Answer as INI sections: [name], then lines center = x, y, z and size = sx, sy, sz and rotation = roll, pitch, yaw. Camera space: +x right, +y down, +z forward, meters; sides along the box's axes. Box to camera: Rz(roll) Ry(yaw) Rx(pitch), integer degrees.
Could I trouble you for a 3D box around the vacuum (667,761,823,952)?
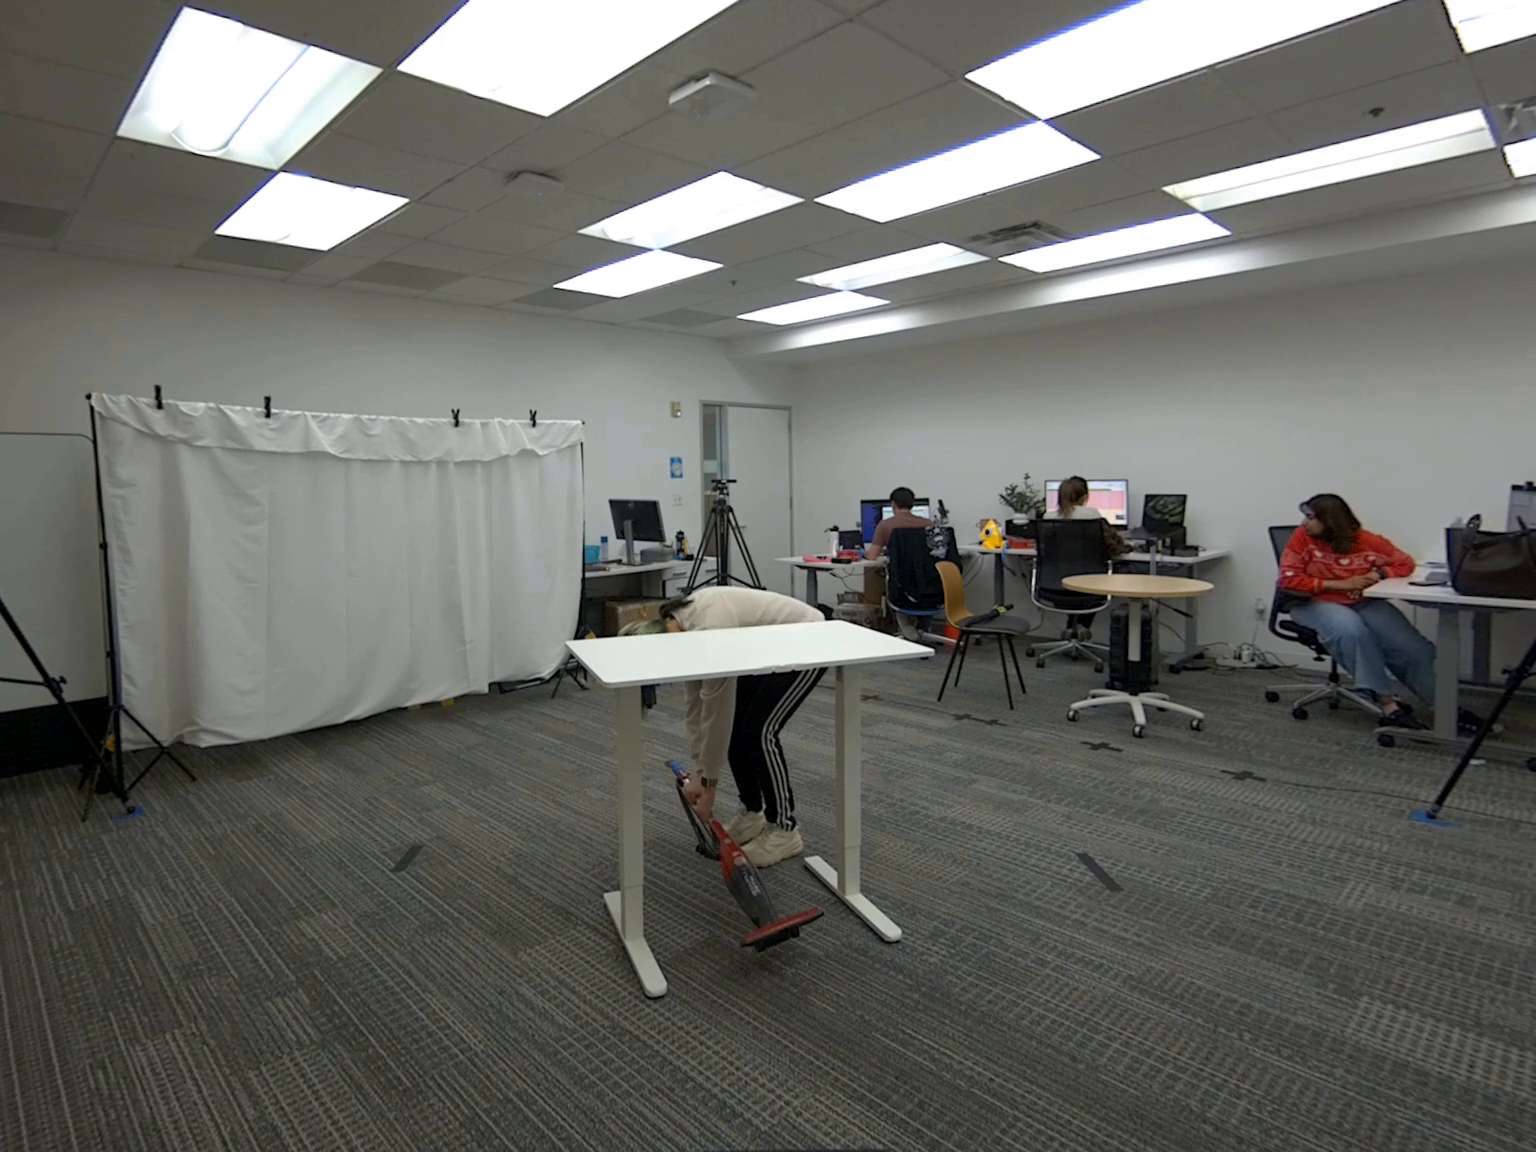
[vacuum]
center = -0.185, 0.889, 2.907
size = 0.249, 0.141, 1.081
rotation = -17, 19, -20
